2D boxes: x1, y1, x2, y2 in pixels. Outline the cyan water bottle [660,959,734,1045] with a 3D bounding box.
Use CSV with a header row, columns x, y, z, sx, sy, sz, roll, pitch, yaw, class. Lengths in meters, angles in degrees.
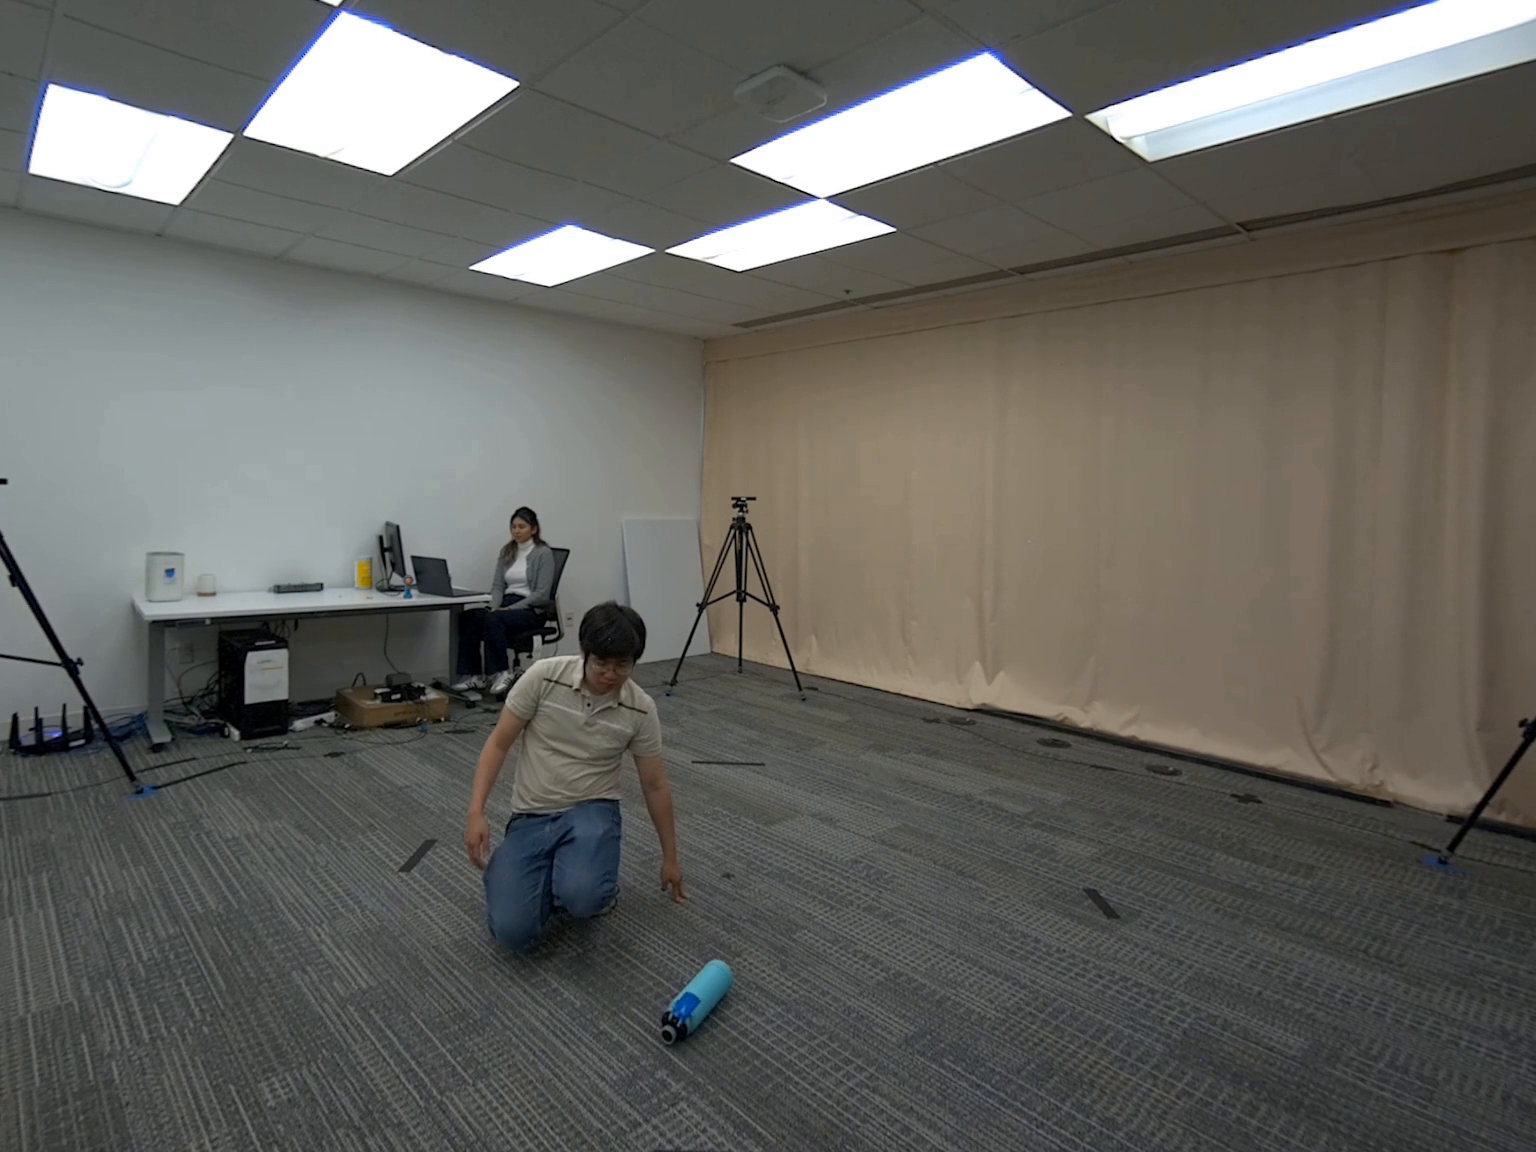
x,y,z,sx,sy,sz,roll,pitch,yaw,class
-0.202,1.137,2.248,0.094,0.092,0.279,3,5,22,cyan water bottle
